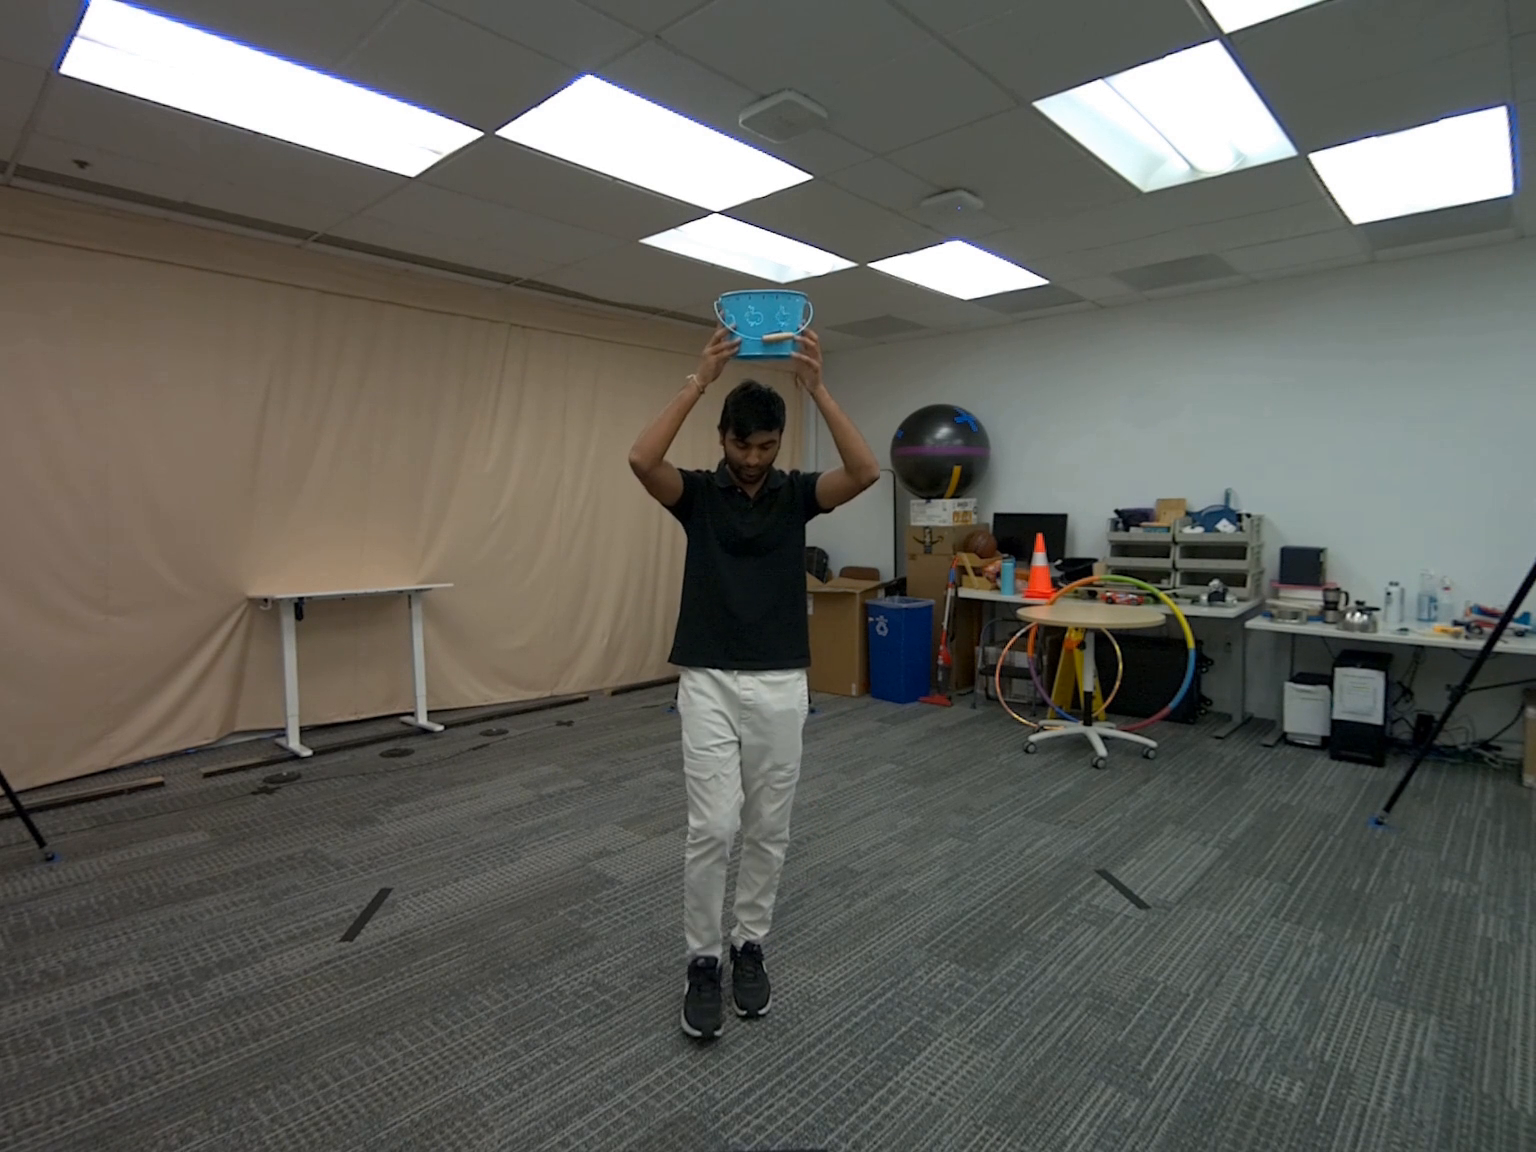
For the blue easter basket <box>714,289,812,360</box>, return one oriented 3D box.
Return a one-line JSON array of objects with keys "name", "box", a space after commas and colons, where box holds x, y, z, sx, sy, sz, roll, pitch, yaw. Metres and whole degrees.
[{"name": "blue easter basket", "box": [-0.015, -0.647, 2.156, 0.243, 0.155, 0.245, -1, 9, -2]}]
